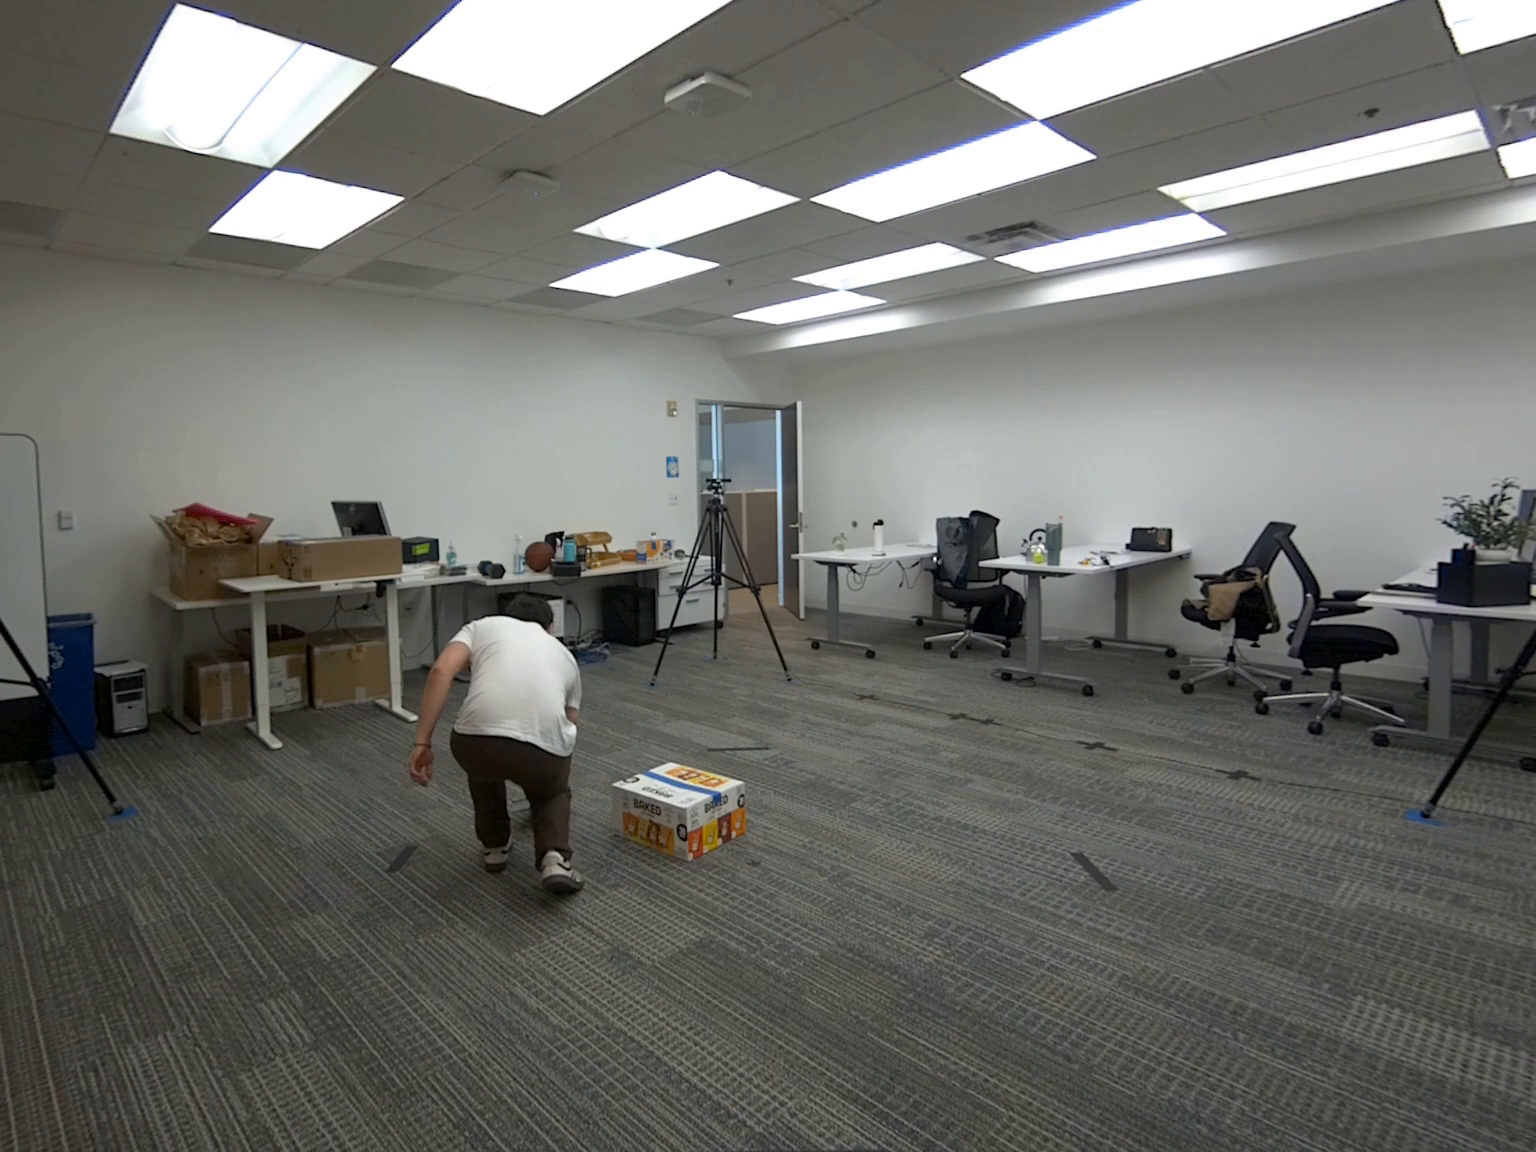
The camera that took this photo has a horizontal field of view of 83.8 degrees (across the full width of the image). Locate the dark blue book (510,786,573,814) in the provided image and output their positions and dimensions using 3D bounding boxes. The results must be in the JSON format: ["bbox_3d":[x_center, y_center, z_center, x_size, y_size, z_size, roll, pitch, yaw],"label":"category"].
[{"bbox_3d":[-0.941,0.926,3.560,0.164,0.046,0.240,-16,-11,7],"label":"dark blue book"}]
